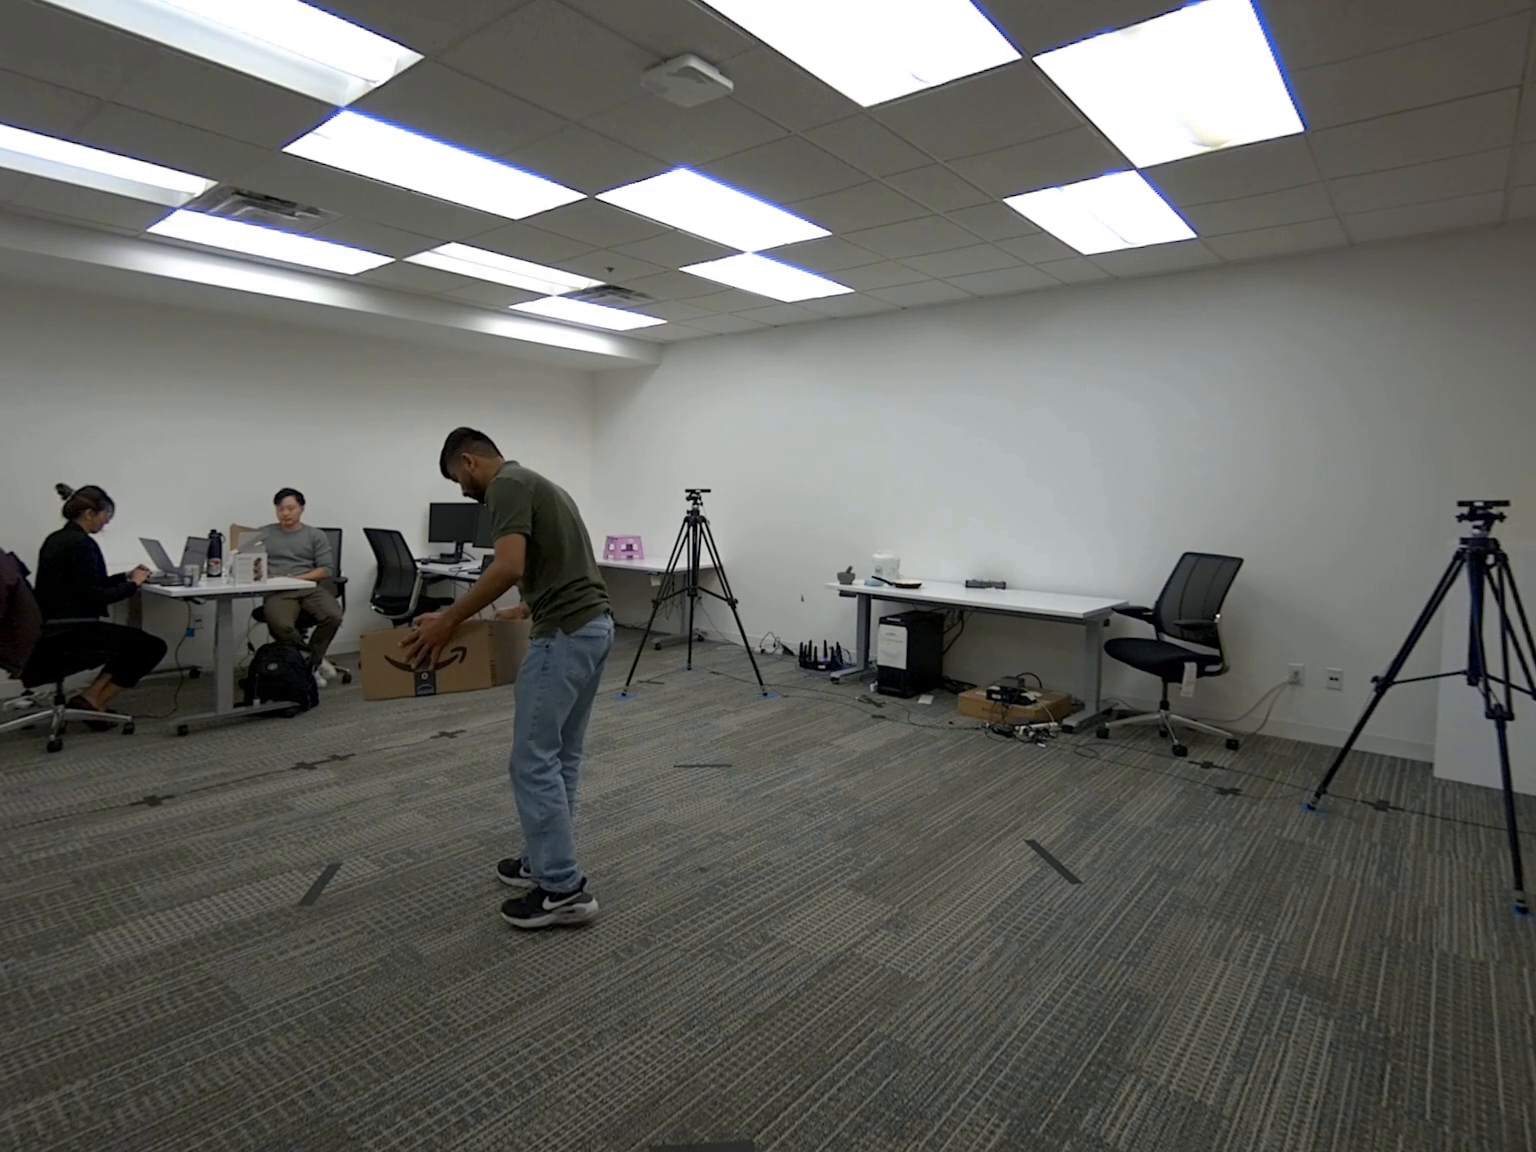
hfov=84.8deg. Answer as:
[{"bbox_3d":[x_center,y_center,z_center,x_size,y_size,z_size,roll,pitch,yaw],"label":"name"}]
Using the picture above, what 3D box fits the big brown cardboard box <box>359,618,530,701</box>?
[{"bbox_3d":[-1.067,0.274,2.915,0.419,0.234,0.584,-6,-3,3],"label":"big brown cardboard box"}]
